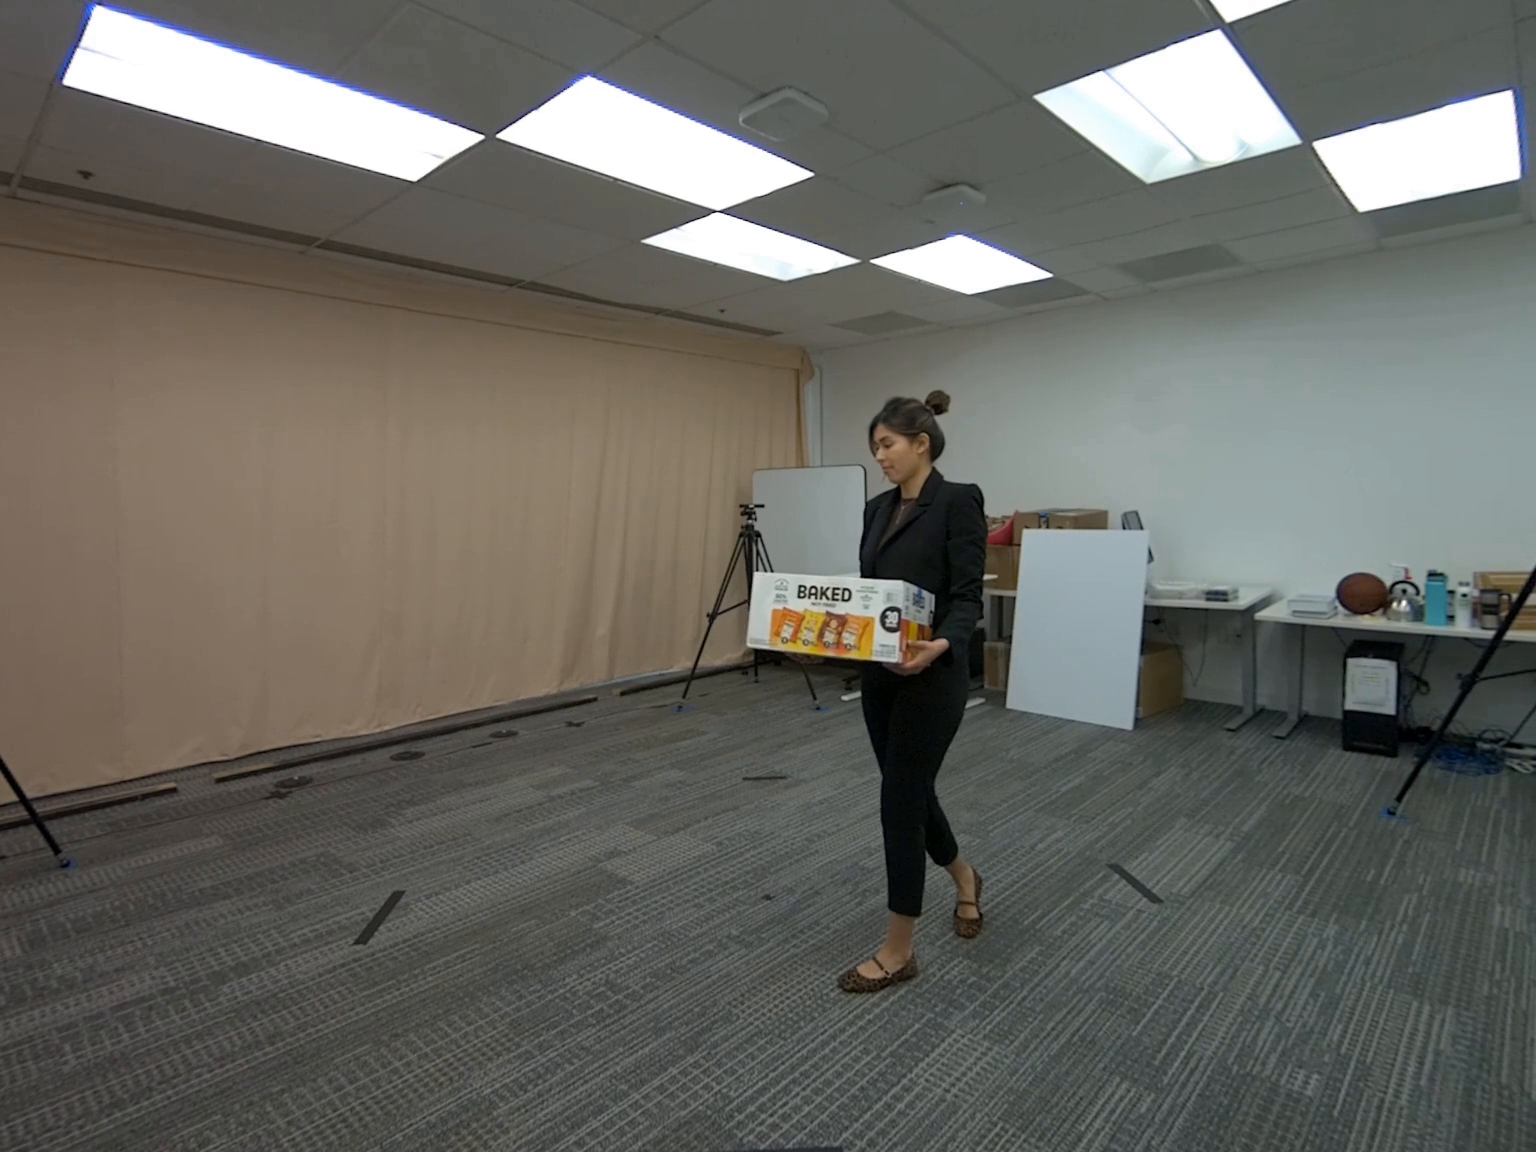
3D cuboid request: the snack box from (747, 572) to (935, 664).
[{"bbox_3d":[0.211,0.124,2.286,0.416,0.206,0.330,4,-6,25],"label":"snack box"}]
